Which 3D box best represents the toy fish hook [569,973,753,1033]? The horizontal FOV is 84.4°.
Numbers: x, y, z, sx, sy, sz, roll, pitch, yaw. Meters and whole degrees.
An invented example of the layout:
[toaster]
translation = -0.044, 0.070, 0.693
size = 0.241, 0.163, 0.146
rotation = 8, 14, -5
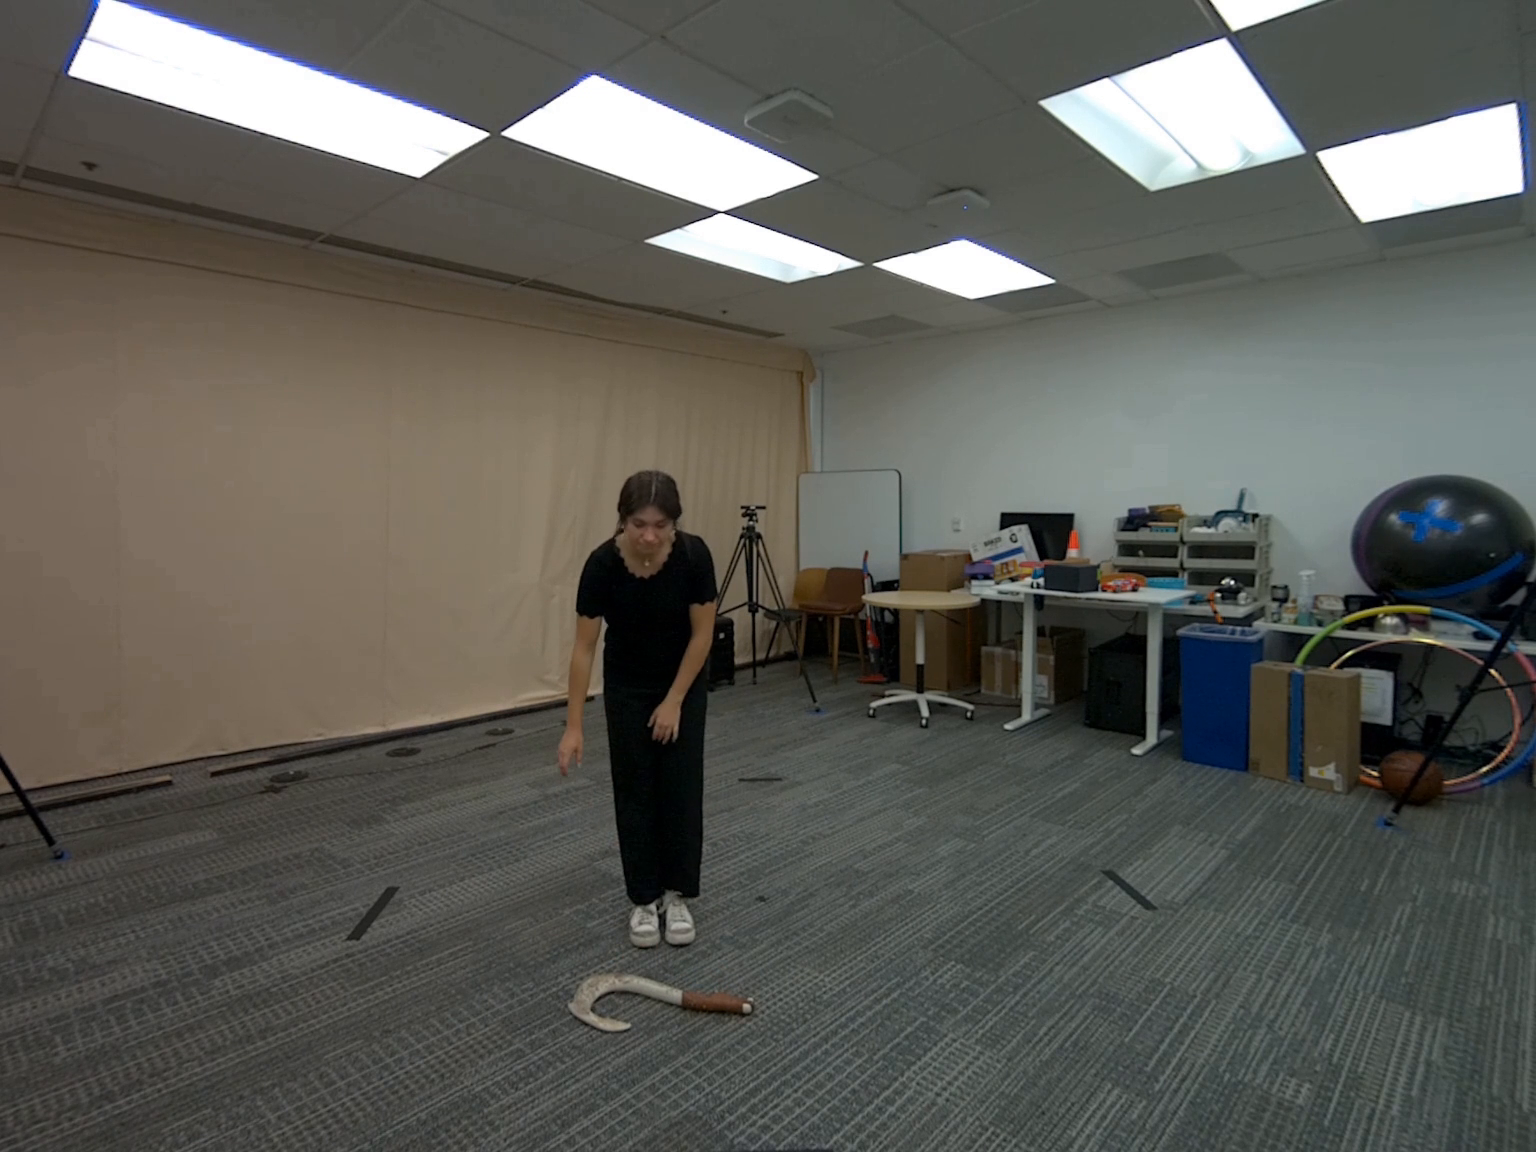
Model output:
[toy fish hook]
translation = -0.291, 1.184, 2.309
size = 0.514, 0.048, 0.223
rotation = 0, 12, 14
